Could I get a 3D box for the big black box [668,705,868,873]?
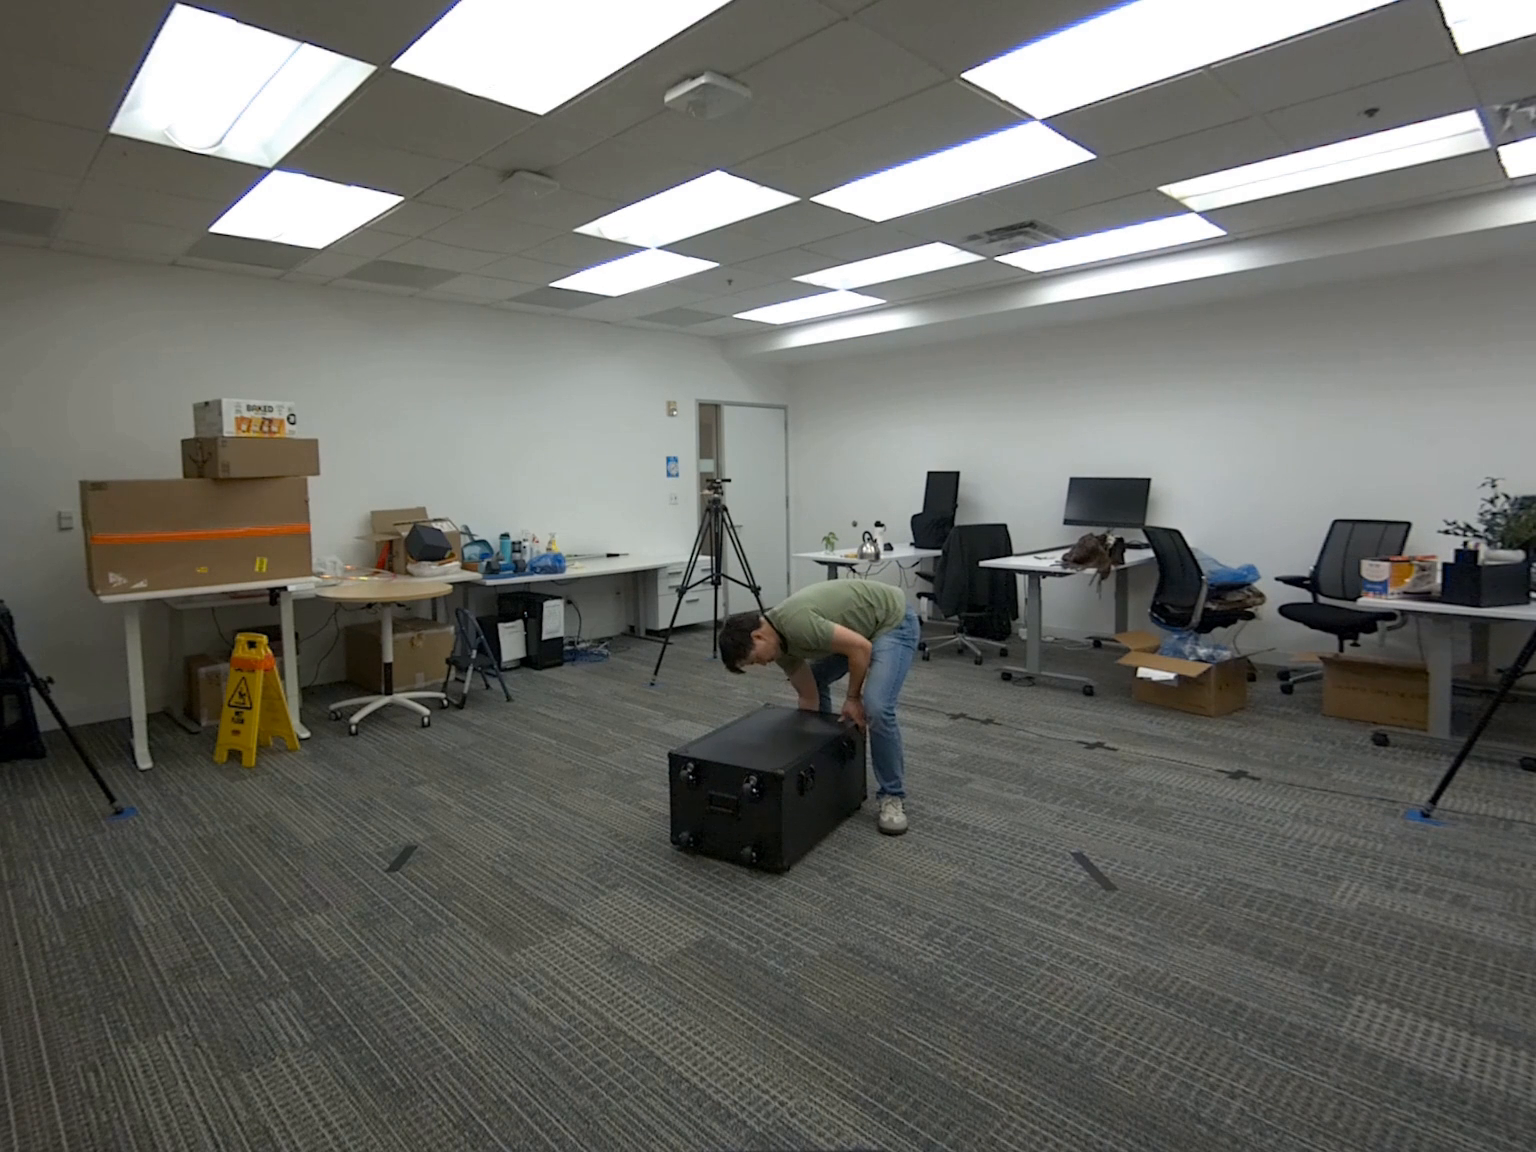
[{"bbox_3d":[0.002,0.823,3.392,0.535,0.395,0.842,3,6,29],"label":"big black box"}]
